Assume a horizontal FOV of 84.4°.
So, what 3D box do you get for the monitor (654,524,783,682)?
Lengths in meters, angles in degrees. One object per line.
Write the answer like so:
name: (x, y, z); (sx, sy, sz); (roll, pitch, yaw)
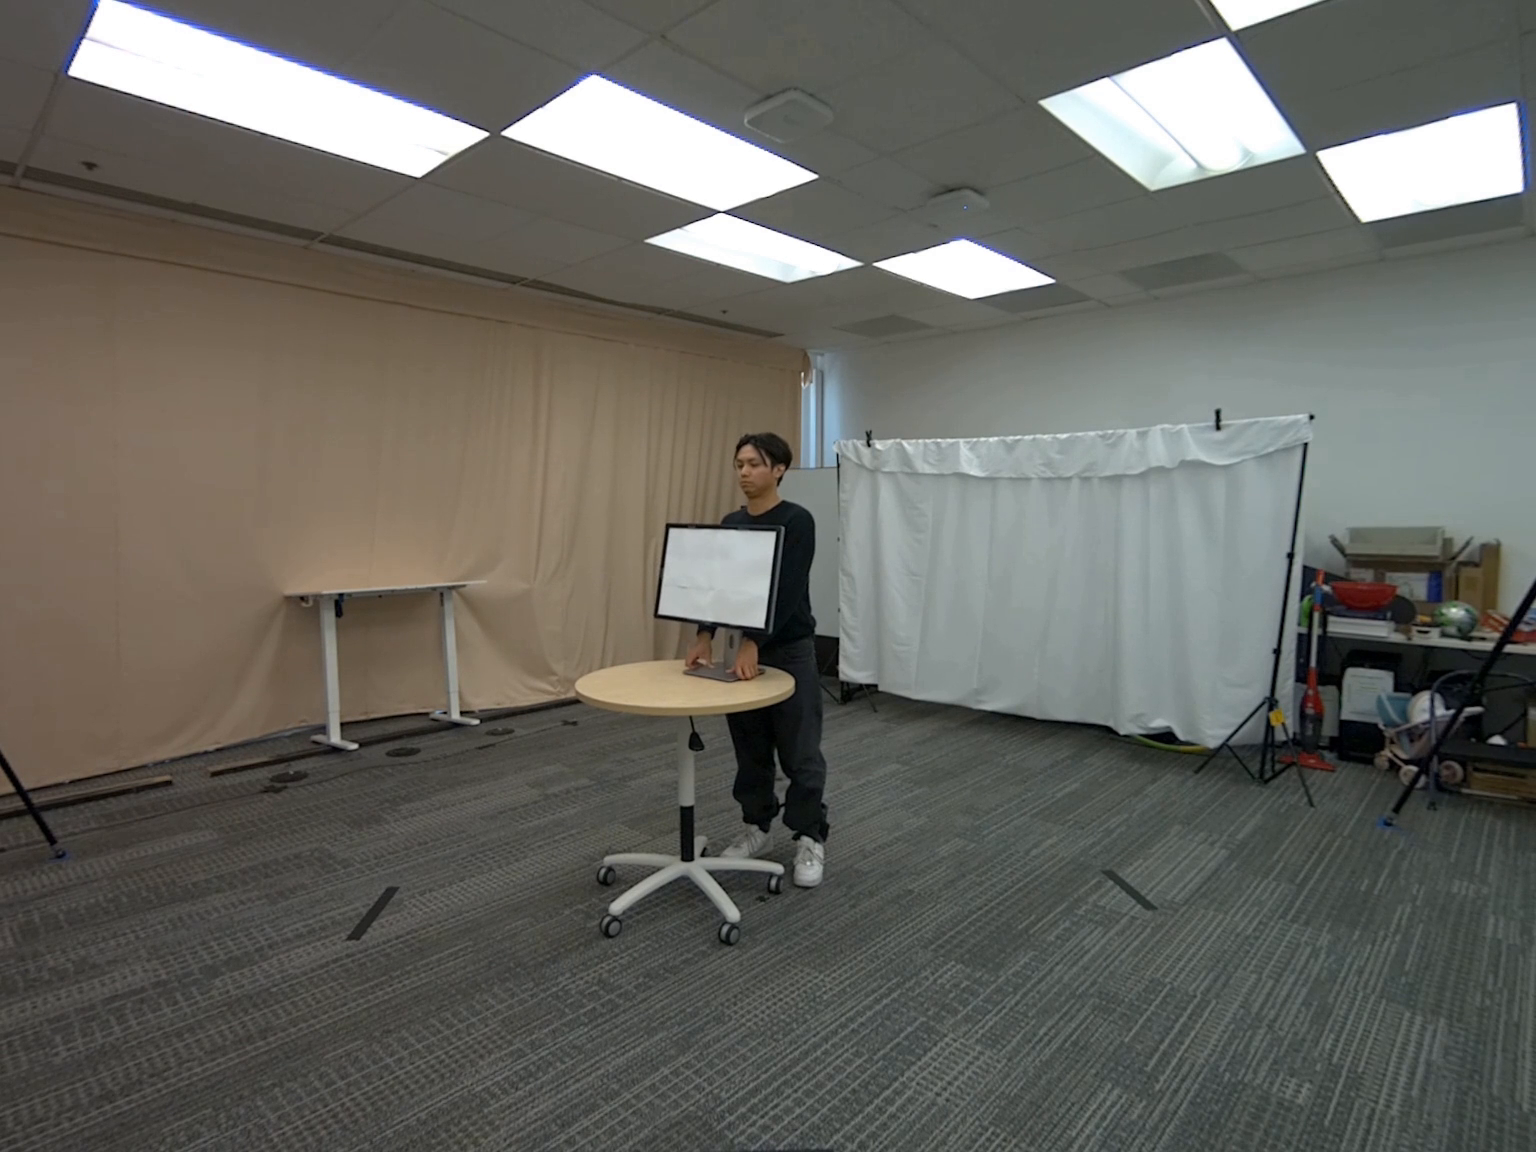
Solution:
monitor: (-0.163, 0.084, 3.038); (0.557, 0.521, 0.181); (3, 4, 41)
